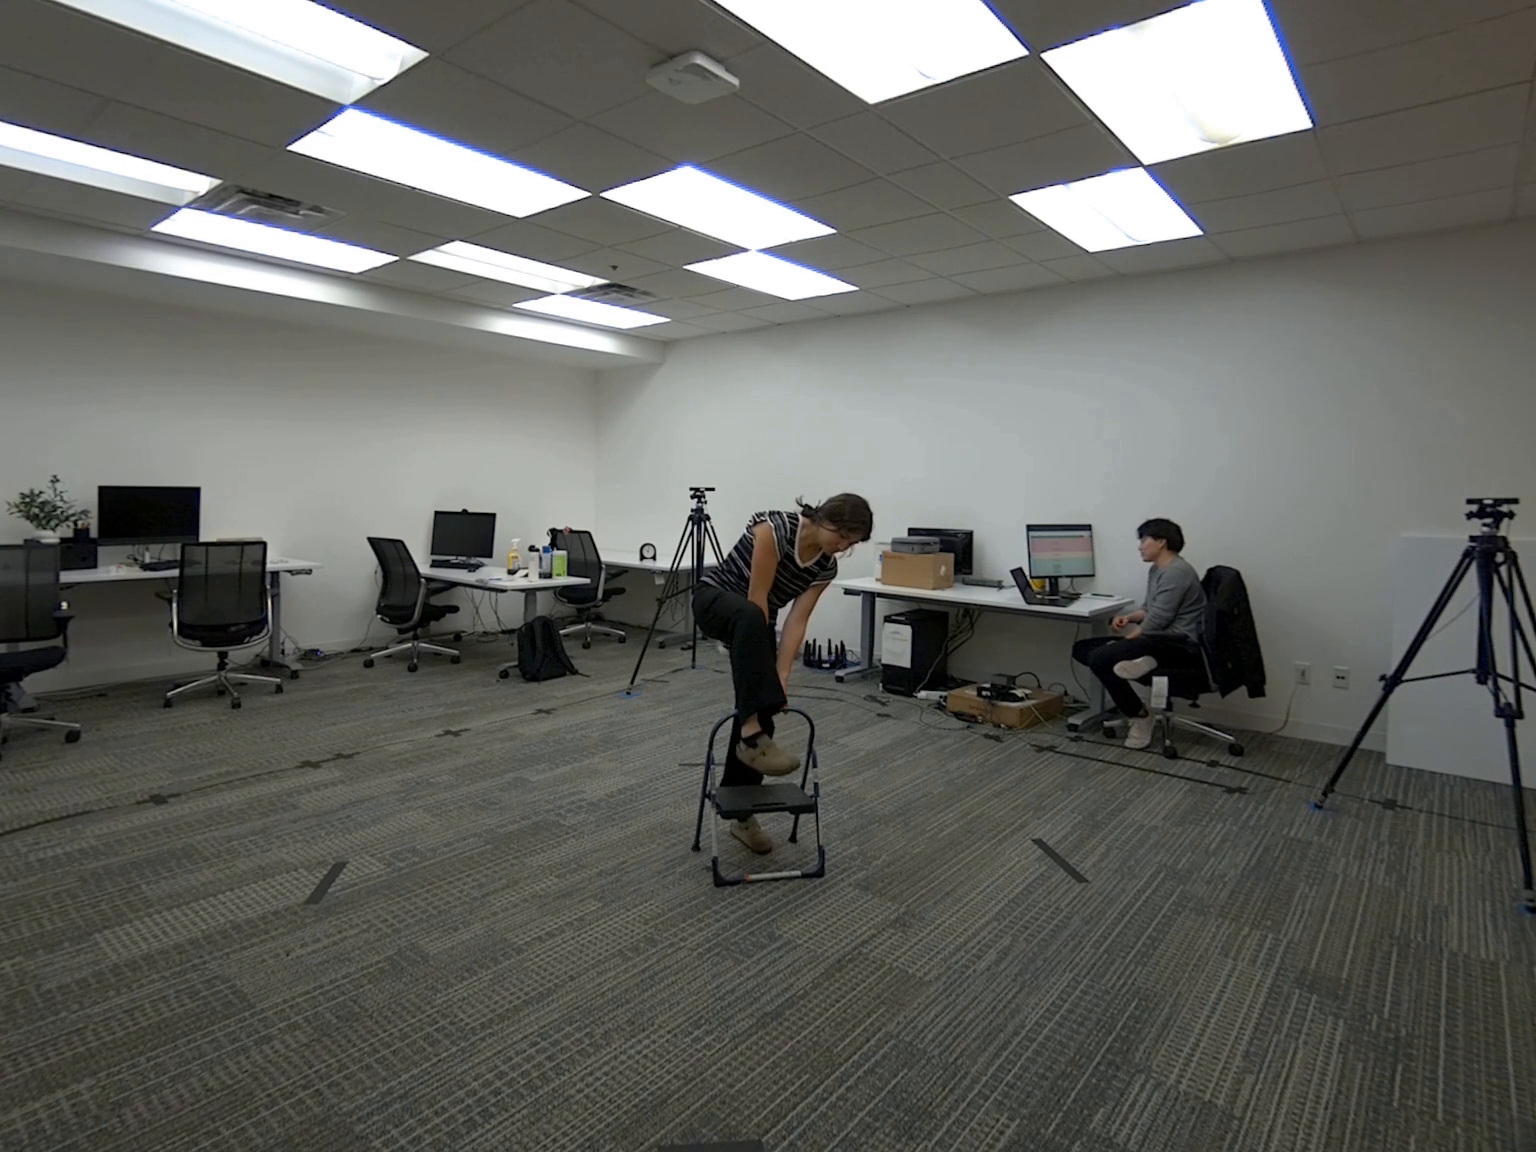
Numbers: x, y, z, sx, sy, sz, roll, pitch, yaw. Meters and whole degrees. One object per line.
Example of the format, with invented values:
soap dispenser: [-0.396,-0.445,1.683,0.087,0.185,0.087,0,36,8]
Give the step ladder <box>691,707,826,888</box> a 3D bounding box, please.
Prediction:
step ladder: [-0.044,0.764,3.165,0.423,0.605,0.356,0,3,-16]
